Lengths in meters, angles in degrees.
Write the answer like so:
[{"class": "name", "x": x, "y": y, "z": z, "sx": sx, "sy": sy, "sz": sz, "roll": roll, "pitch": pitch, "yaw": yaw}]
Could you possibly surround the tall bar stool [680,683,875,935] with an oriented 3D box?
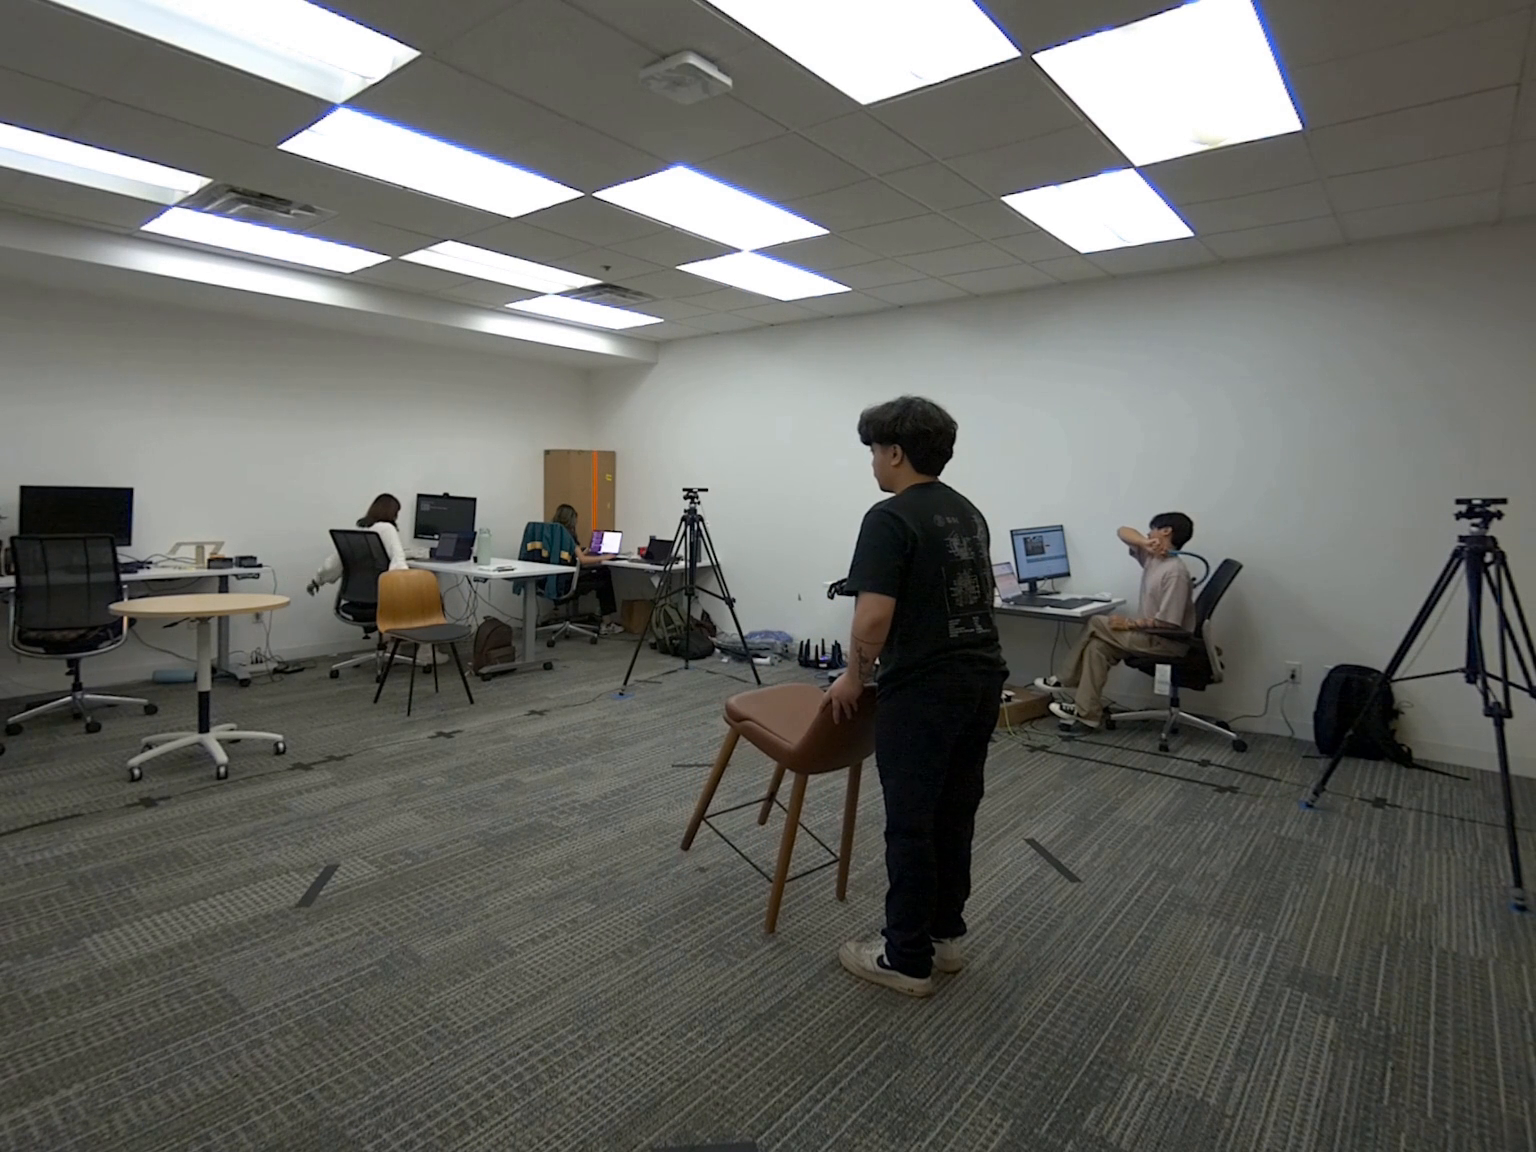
[{"class": "tall bar stool", "x": 0.091, "y": 0.626, "z": 2.815, "sx": 0.442, "sy": 0.880, "sz": 0.487, "roll": -1, "pitch": 24, "yaw": -43}]
